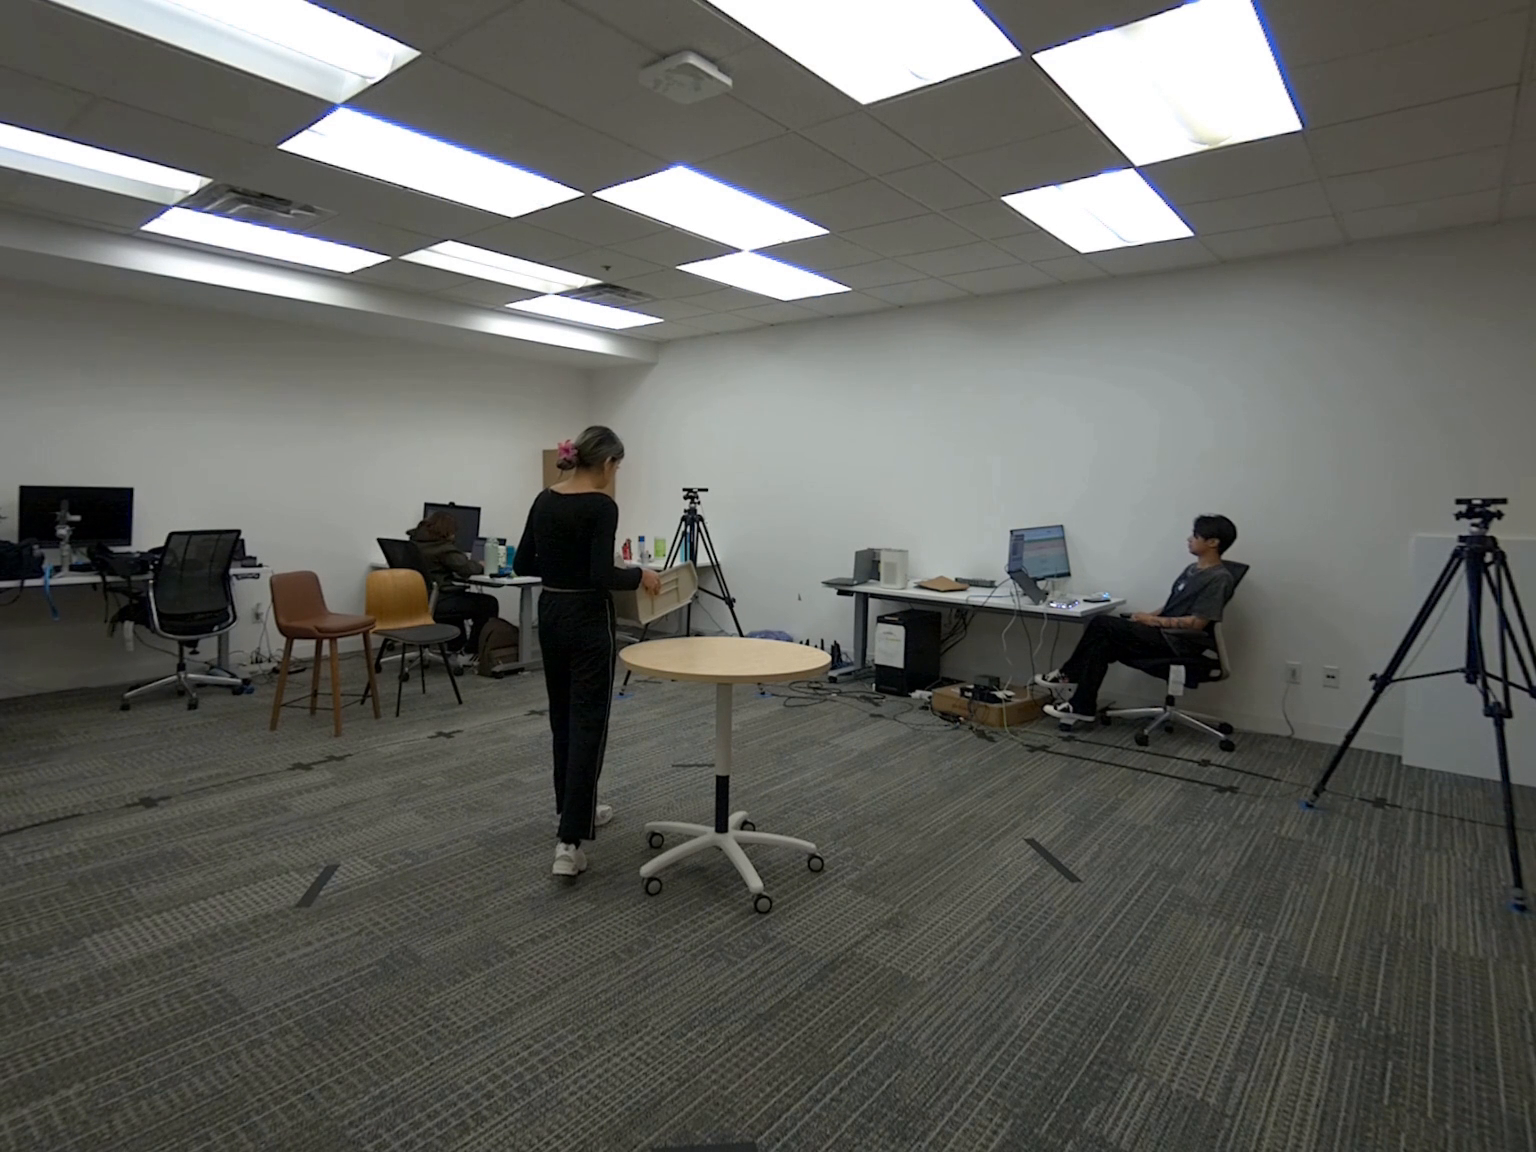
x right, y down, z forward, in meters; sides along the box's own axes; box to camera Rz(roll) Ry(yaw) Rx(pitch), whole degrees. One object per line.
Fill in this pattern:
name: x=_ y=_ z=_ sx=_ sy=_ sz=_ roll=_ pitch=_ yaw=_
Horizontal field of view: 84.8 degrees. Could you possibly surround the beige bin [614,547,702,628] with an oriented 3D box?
beige bin: x=-0.574 y=0.034 z=3.581 sx=0.436 sy=0.186 sz=0.371 roll=7 pitch=20 yaw=34
